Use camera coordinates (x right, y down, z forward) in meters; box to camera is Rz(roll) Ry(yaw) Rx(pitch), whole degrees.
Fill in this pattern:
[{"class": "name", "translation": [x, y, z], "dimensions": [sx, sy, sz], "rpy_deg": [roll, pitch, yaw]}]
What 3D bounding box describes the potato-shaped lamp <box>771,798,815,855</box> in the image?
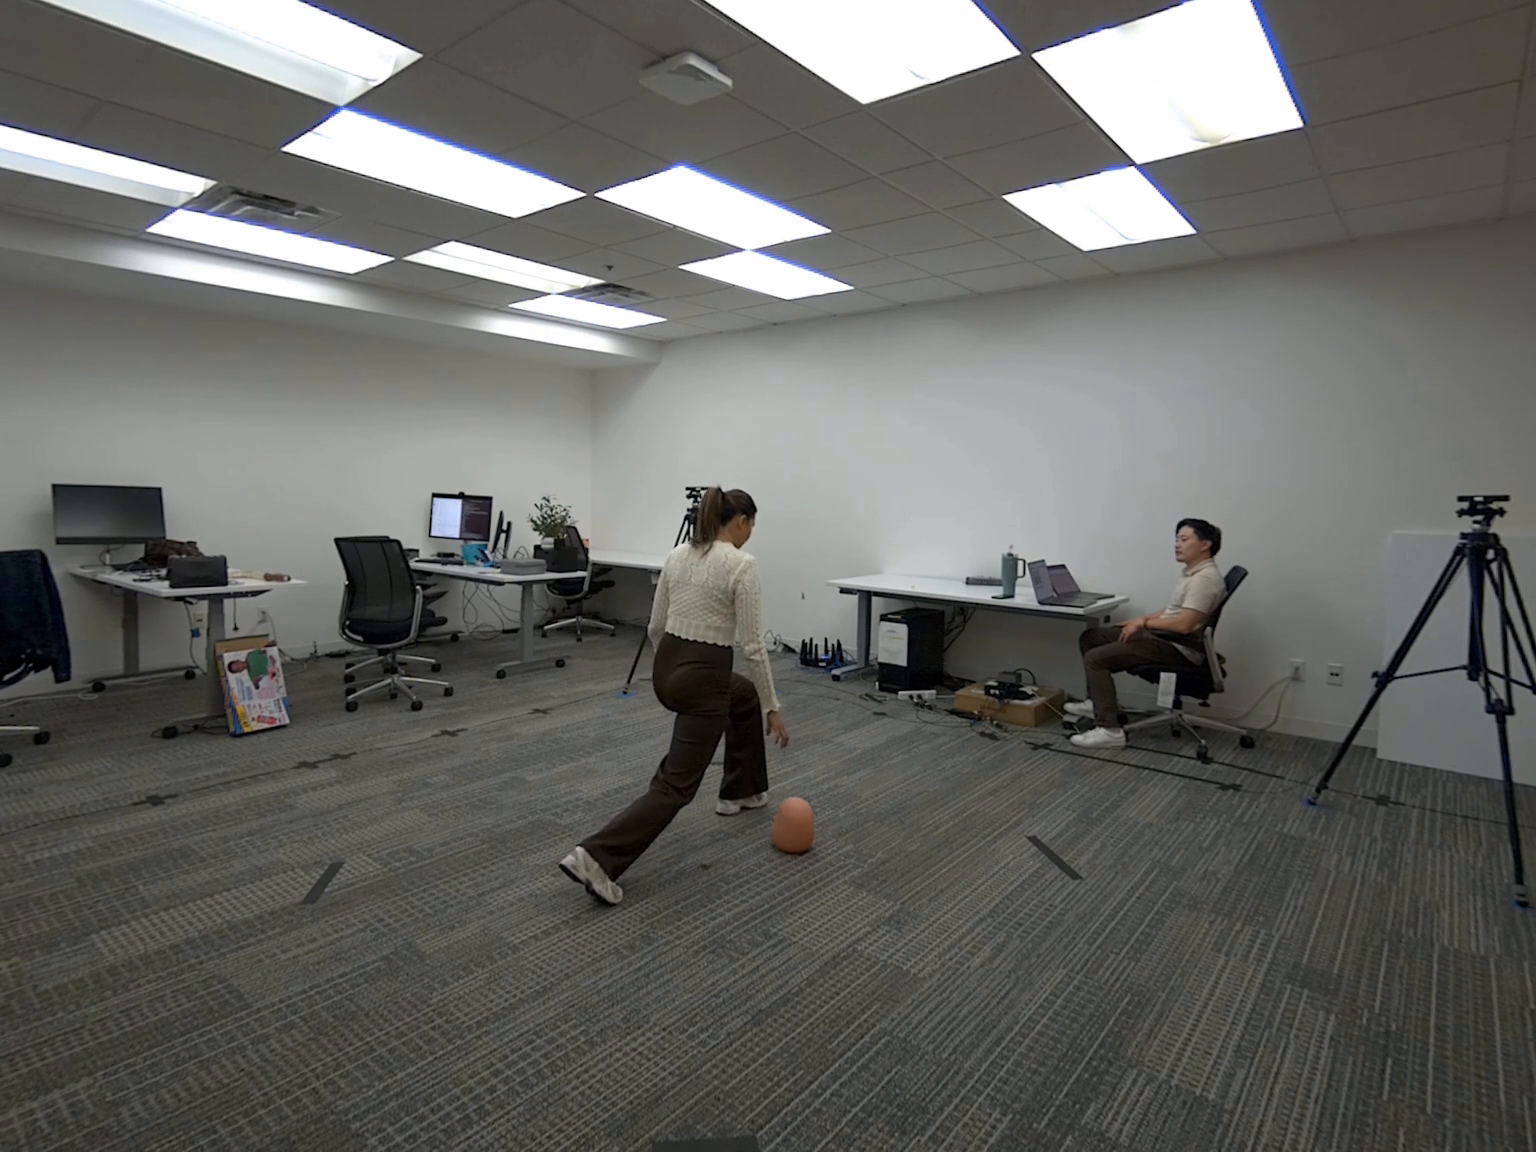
[{"class": "potato-shaped lamp", "translation": [0.089, 0.949, 3.294], "dimensions": [0.161, 0.197, 0.176], "rpy_deg": [1, 6, -20]}]
